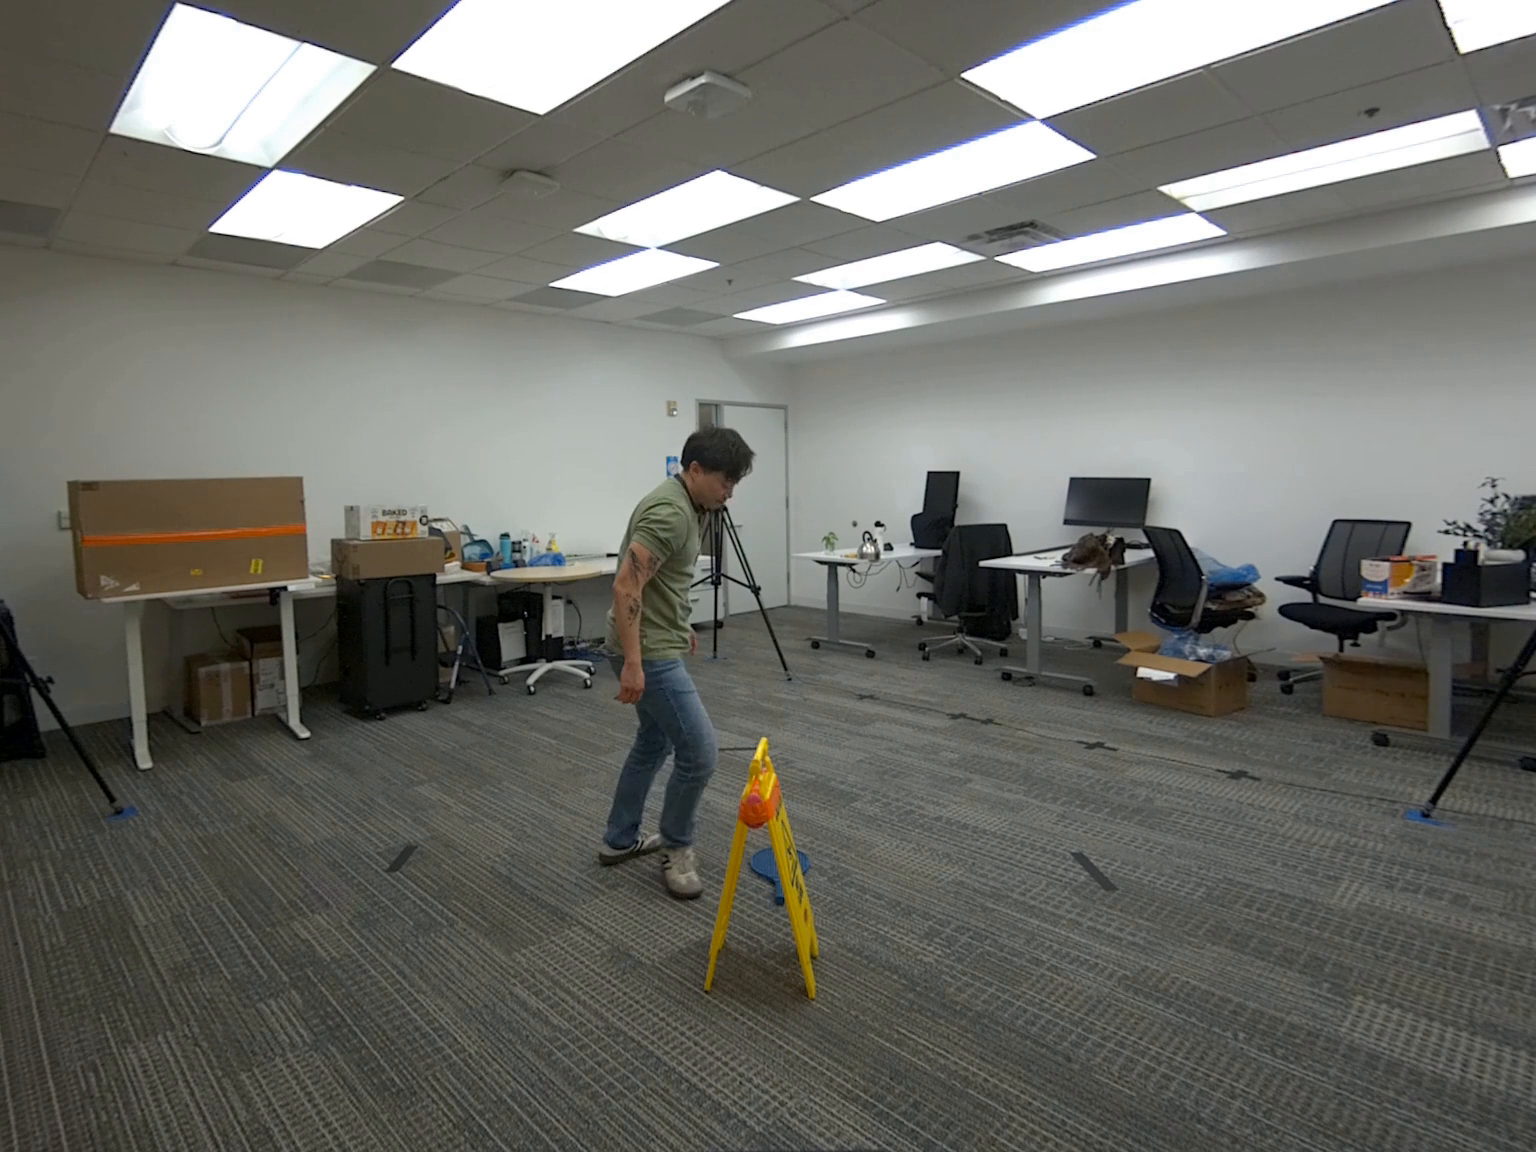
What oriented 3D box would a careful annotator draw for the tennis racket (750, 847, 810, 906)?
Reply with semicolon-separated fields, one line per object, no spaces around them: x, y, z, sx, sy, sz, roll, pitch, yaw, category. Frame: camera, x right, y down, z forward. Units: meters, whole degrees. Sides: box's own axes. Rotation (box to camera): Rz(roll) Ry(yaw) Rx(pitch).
0.039;1.033;3.003;0.214;0.031;0.434;0;5;0;tennis racket
